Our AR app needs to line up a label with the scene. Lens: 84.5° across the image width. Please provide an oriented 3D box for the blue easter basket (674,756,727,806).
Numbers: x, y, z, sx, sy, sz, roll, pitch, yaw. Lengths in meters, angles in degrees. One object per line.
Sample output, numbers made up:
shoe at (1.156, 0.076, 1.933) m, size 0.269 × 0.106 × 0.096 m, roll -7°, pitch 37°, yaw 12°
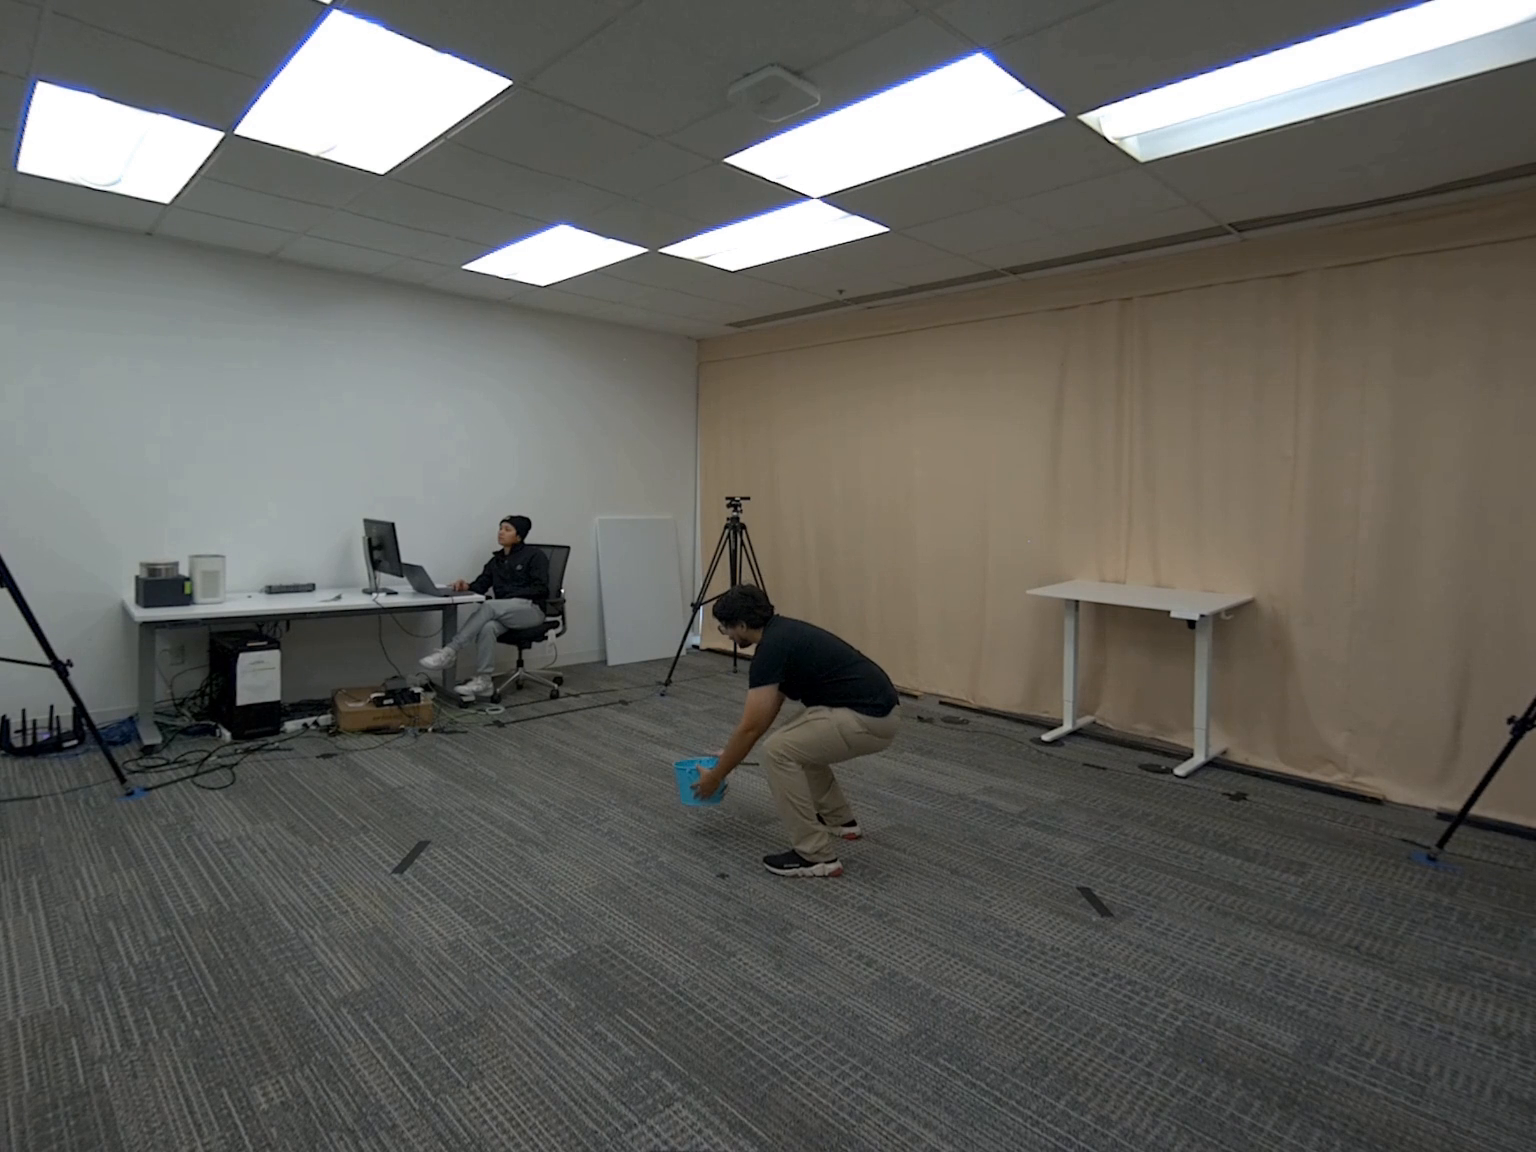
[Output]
blue easter basket at (-0.280, 0.850, 3.507) m, size 0.243 × 0.156 × 0.243 m, roll -4°, pitch -4°, yaw -2°
